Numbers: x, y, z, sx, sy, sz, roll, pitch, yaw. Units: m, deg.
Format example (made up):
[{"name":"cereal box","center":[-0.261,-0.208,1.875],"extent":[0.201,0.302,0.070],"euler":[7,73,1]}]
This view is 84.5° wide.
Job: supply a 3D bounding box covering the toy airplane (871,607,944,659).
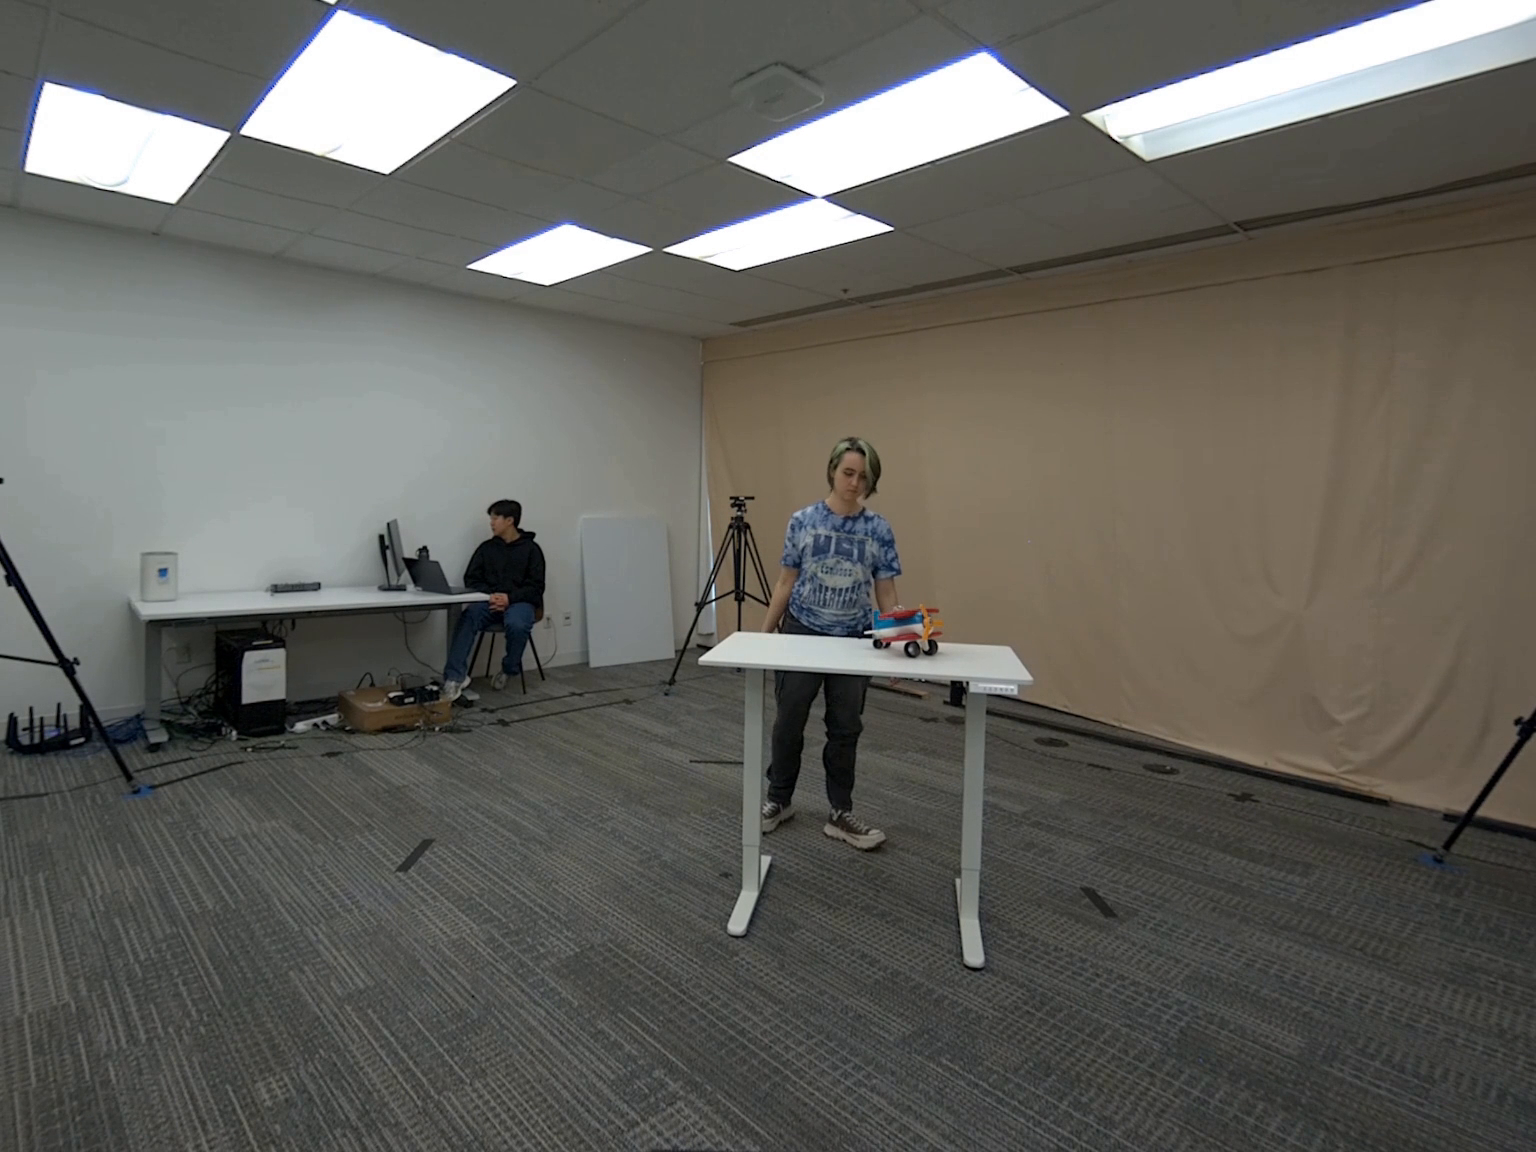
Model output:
[{"name":"toy airplane","center":[0.438,0.185,2.830],"extent":[0.264,0.156,0.247],"euler":[4,4,24]}]
